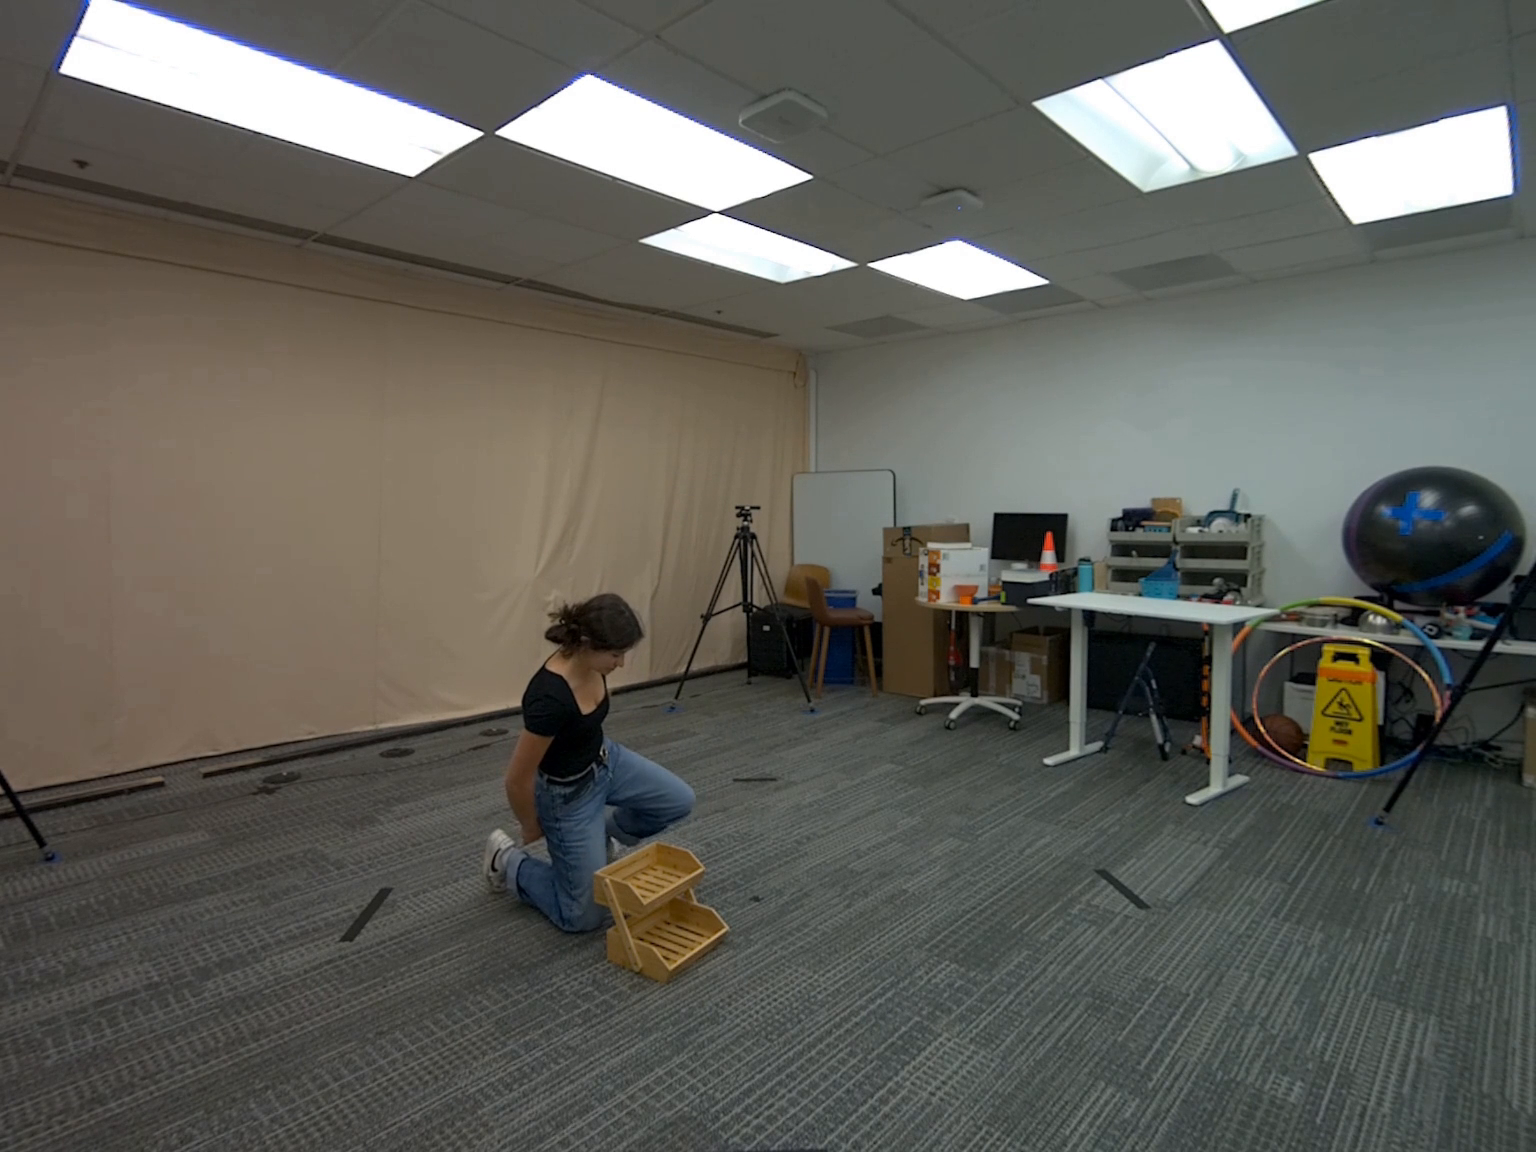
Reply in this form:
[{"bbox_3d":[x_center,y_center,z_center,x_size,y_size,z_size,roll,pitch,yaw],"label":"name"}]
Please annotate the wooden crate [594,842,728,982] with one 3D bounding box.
[{"bbox_3d":[-0.327,1.046,2.638,0.311,0.273,0.315,2,5,34],"label":"wooden crate"}]
